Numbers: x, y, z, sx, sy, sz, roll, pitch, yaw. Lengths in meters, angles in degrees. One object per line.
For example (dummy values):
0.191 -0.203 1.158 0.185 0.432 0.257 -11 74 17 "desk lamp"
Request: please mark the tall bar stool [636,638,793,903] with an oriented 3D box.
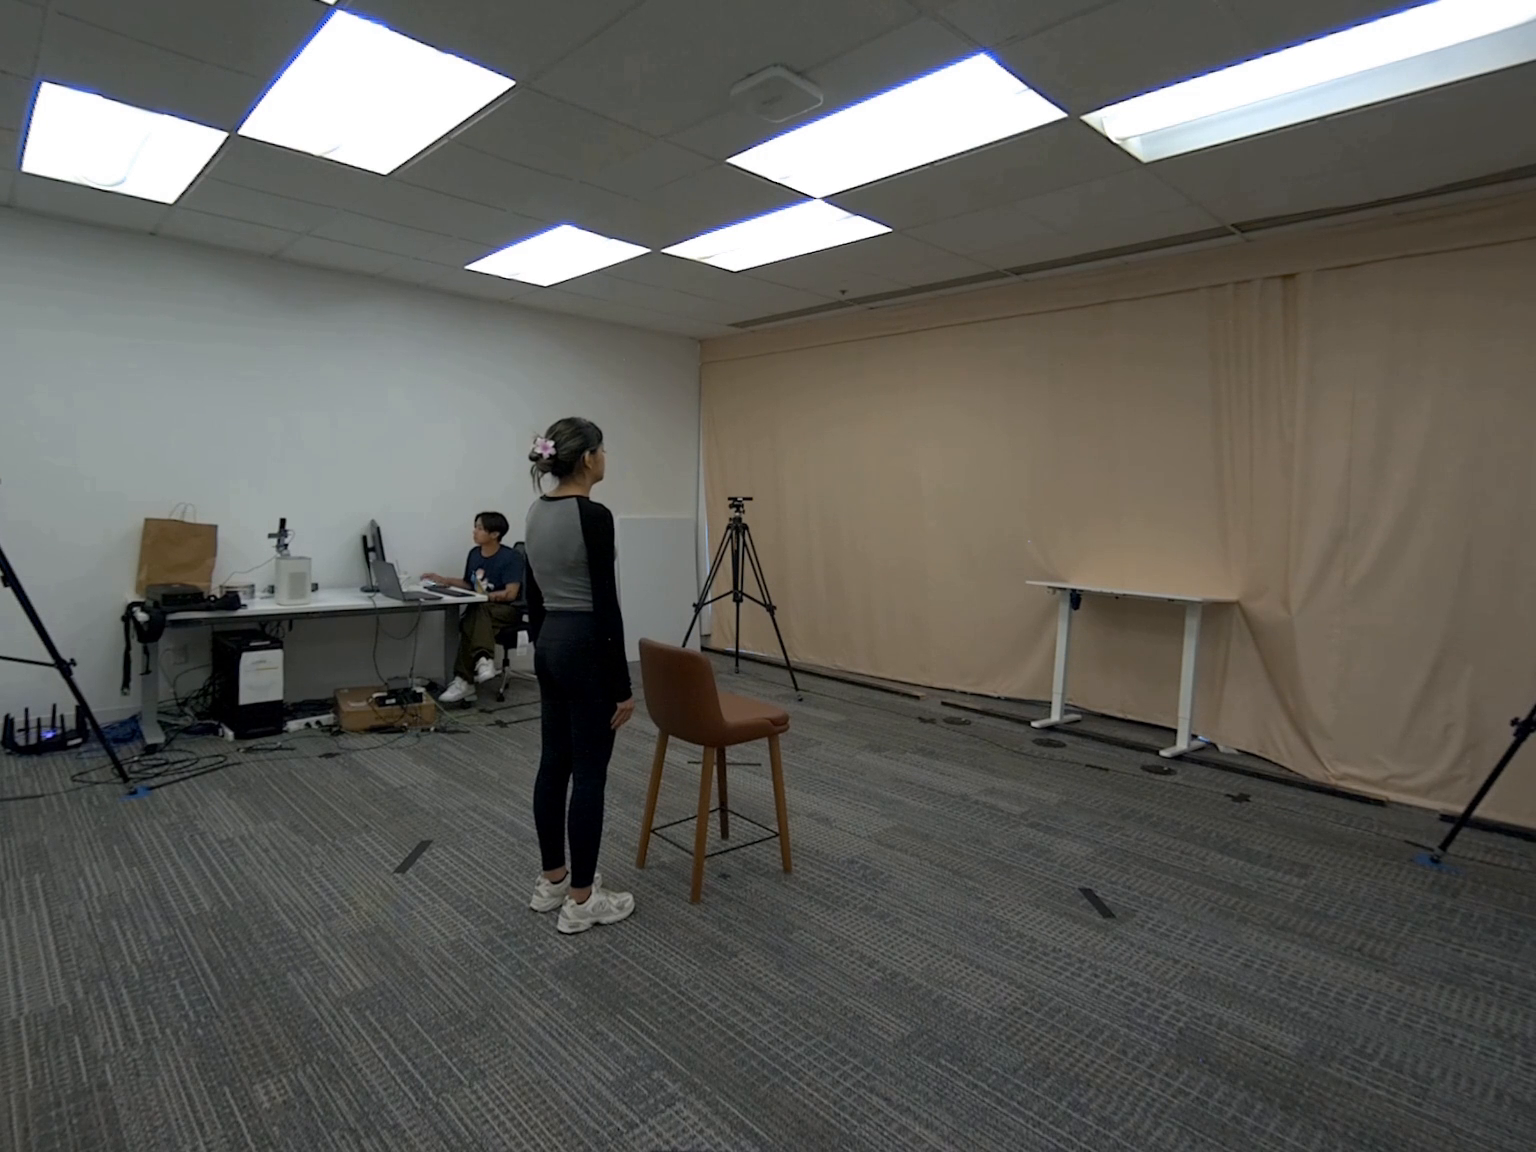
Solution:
-0.215 0.666 3.137 0.457 0.887 0.468 -4 6 -40 "tall bar stool"
